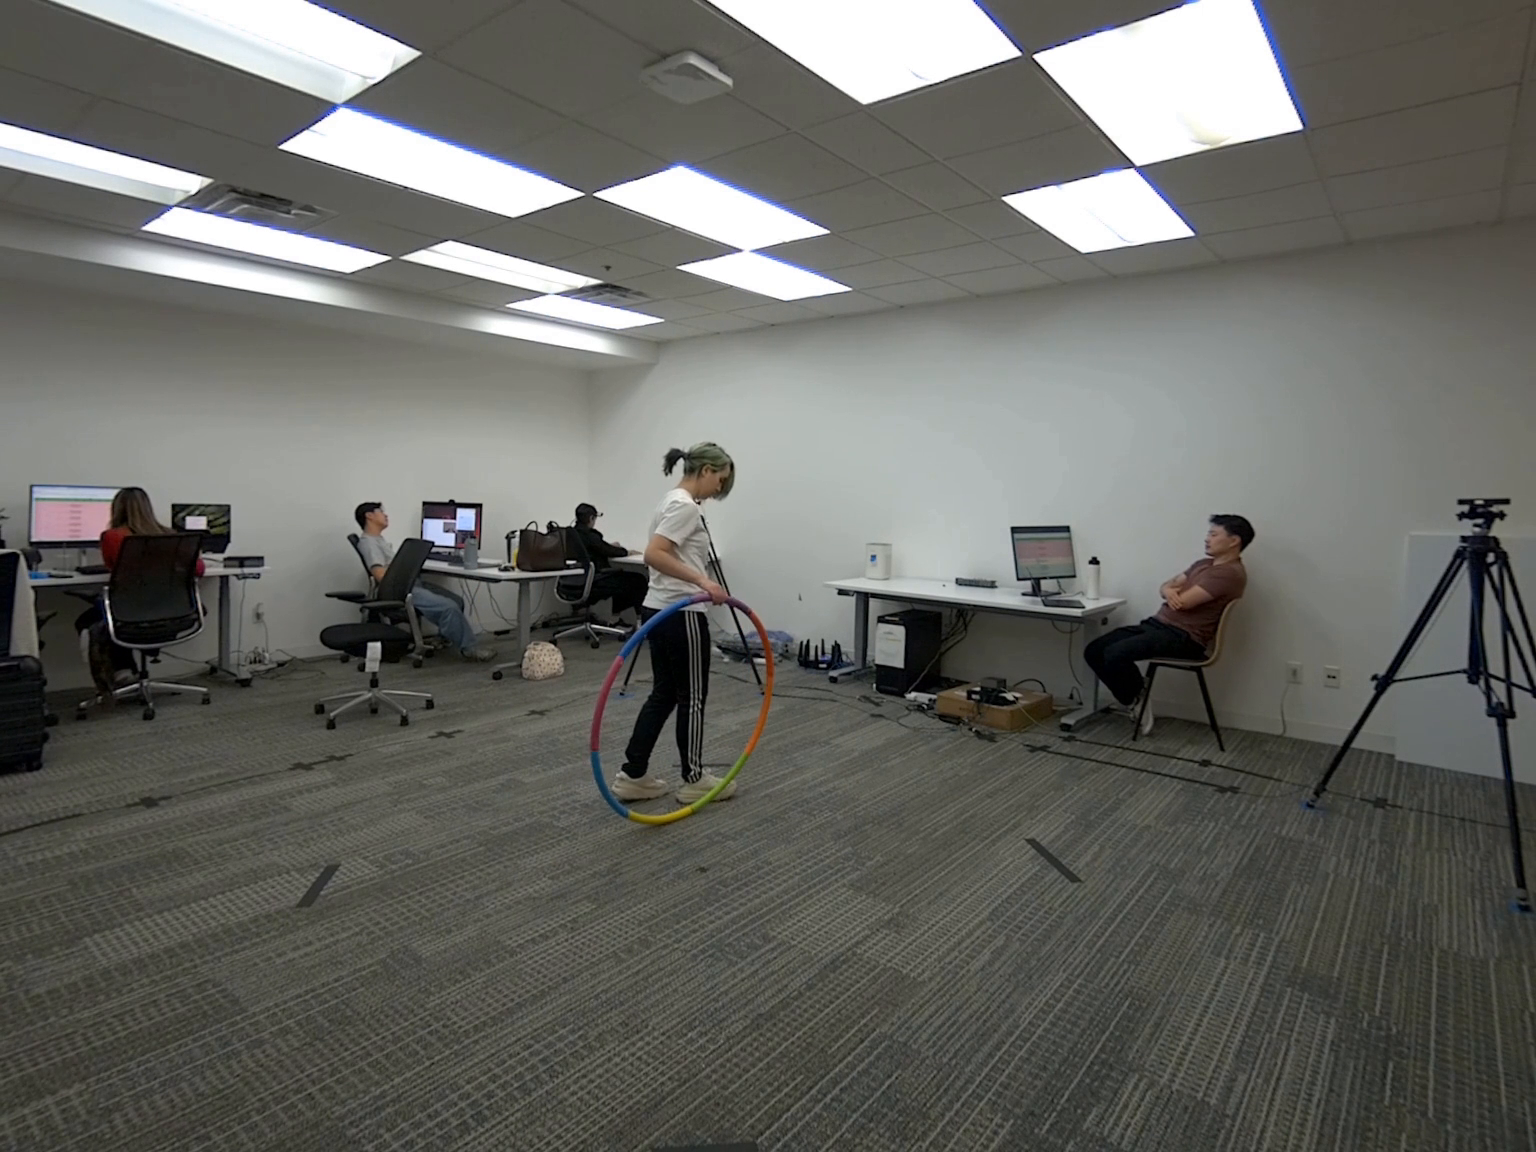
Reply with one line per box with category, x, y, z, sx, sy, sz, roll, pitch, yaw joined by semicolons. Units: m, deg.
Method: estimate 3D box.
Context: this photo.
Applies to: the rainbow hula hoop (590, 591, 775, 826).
rainbow hula hoop;-0.330;0.546;3.505;0.949;0.971;0.037;-3;14;-45
